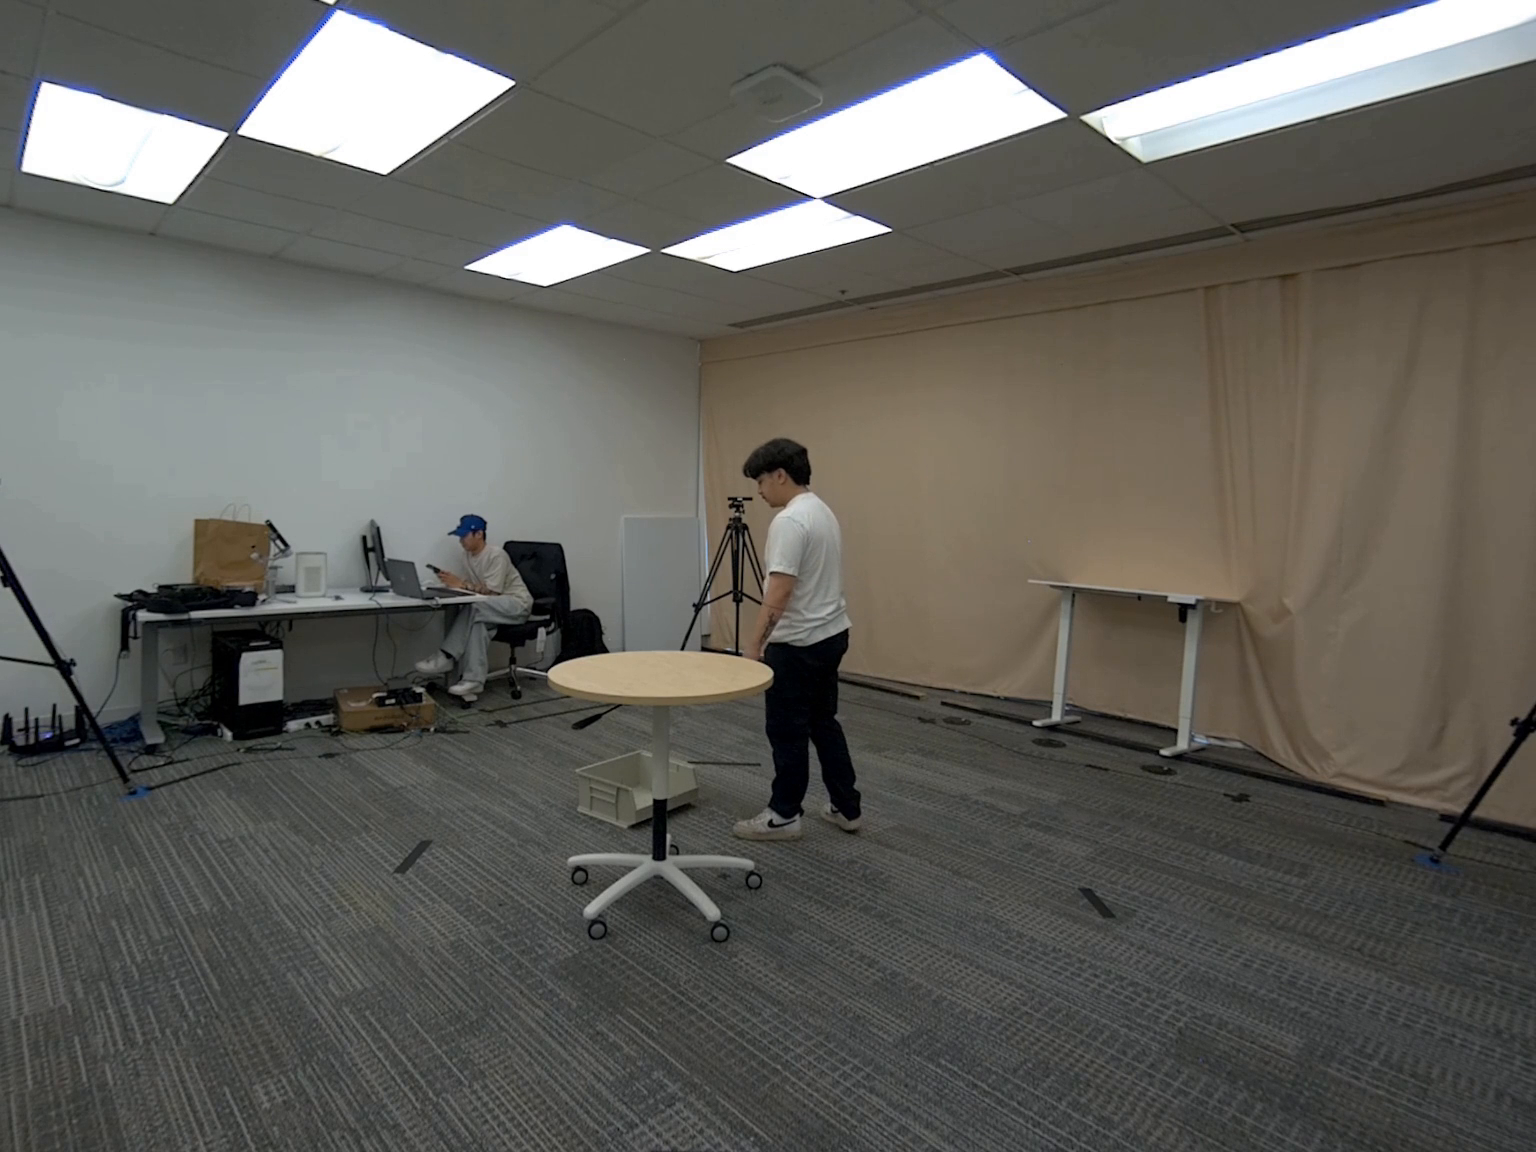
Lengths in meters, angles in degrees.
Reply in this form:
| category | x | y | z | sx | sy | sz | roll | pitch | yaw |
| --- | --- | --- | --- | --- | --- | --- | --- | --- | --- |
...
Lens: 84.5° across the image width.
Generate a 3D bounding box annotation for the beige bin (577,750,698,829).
| category | x | y | z | sx | sy | sz | roll | pitch | yaw |
| --- | --- | --- | --- | --- | --- | --- | --- | --- | --- |
| beige bin | -0.585 | 0.946 | 3.765 | 0.386 | 0.188 | 0.413 | 4 | 6 | 36 |
